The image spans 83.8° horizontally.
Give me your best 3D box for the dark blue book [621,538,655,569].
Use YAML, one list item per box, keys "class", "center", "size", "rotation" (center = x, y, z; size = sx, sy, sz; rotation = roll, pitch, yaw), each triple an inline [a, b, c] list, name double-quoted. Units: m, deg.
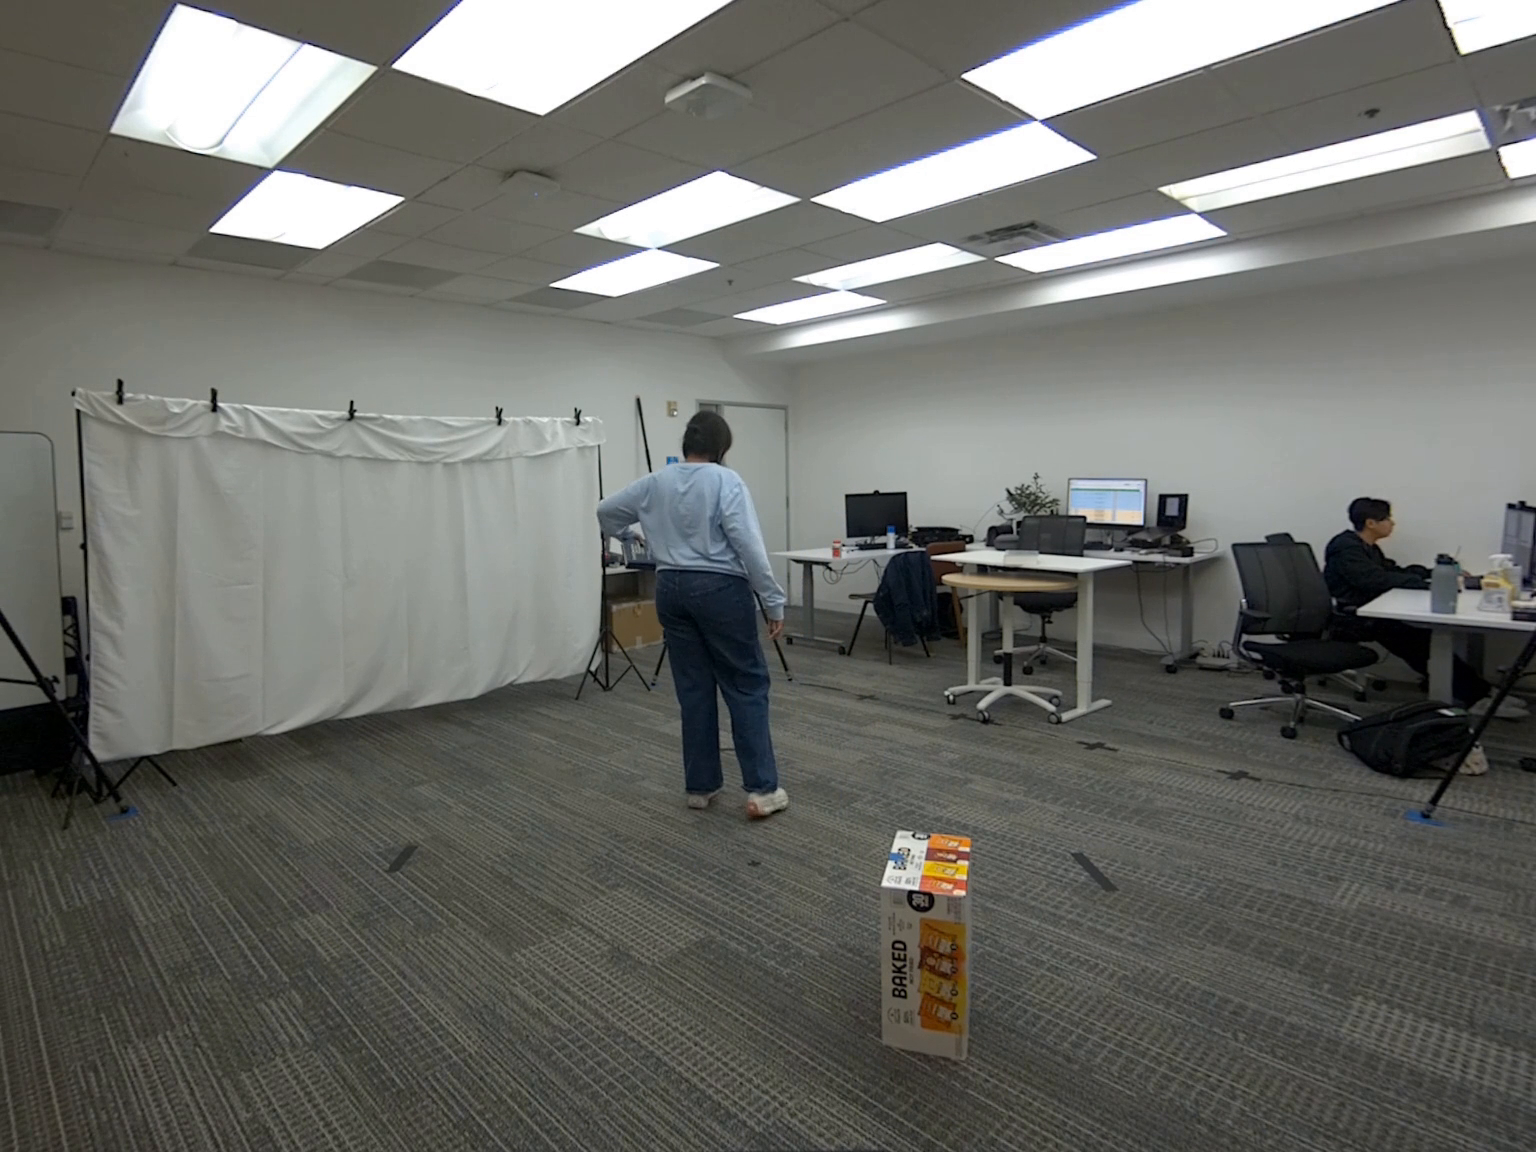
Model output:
- class: "dark blue book"
  center: [-0.532, -0.100, 3.903]
  size: [0.240, 0.044, 0.169]
  rotation: [1, 43, -21]
